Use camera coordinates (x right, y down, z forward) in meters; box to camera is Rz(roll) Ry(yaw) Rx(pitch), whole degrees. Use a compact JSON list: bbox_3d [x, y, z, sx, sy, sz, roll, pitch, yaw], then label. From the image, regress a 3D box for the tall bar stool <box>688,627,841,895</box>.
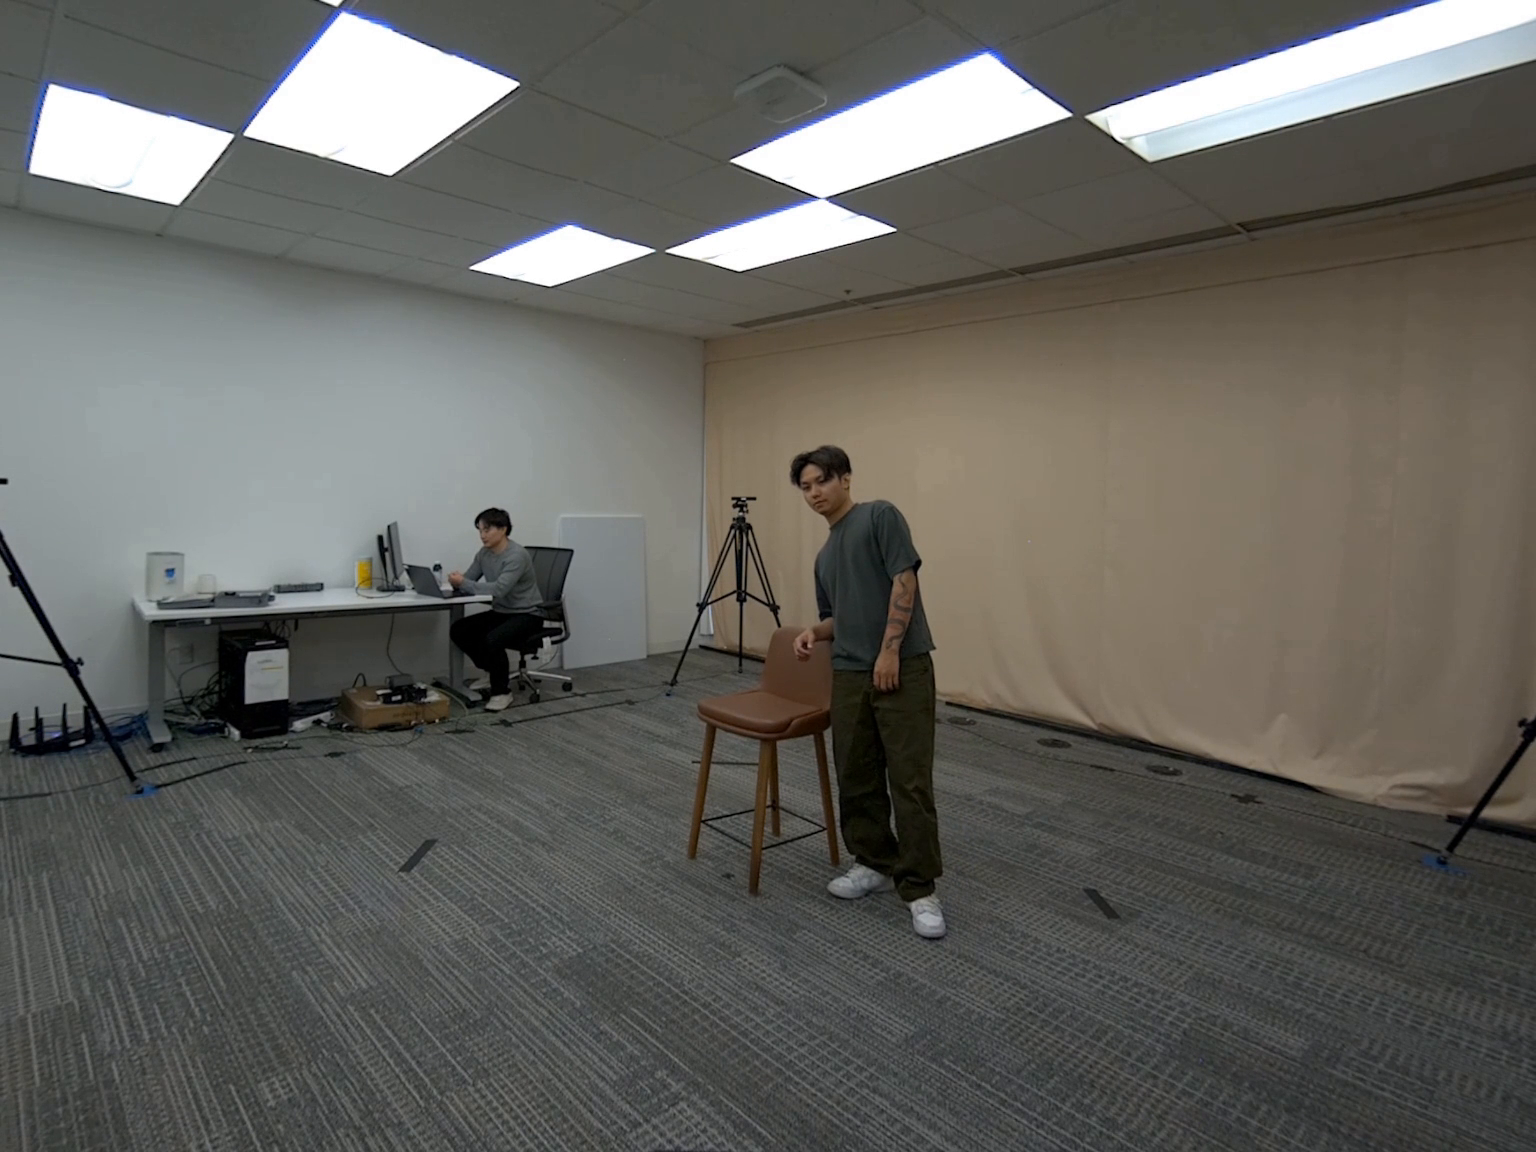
[{"bbox_3d":[-0.004,0.661,3.227,0.456,0.889,0.468,2,2,-39],"label":"tall bar stool"}]
